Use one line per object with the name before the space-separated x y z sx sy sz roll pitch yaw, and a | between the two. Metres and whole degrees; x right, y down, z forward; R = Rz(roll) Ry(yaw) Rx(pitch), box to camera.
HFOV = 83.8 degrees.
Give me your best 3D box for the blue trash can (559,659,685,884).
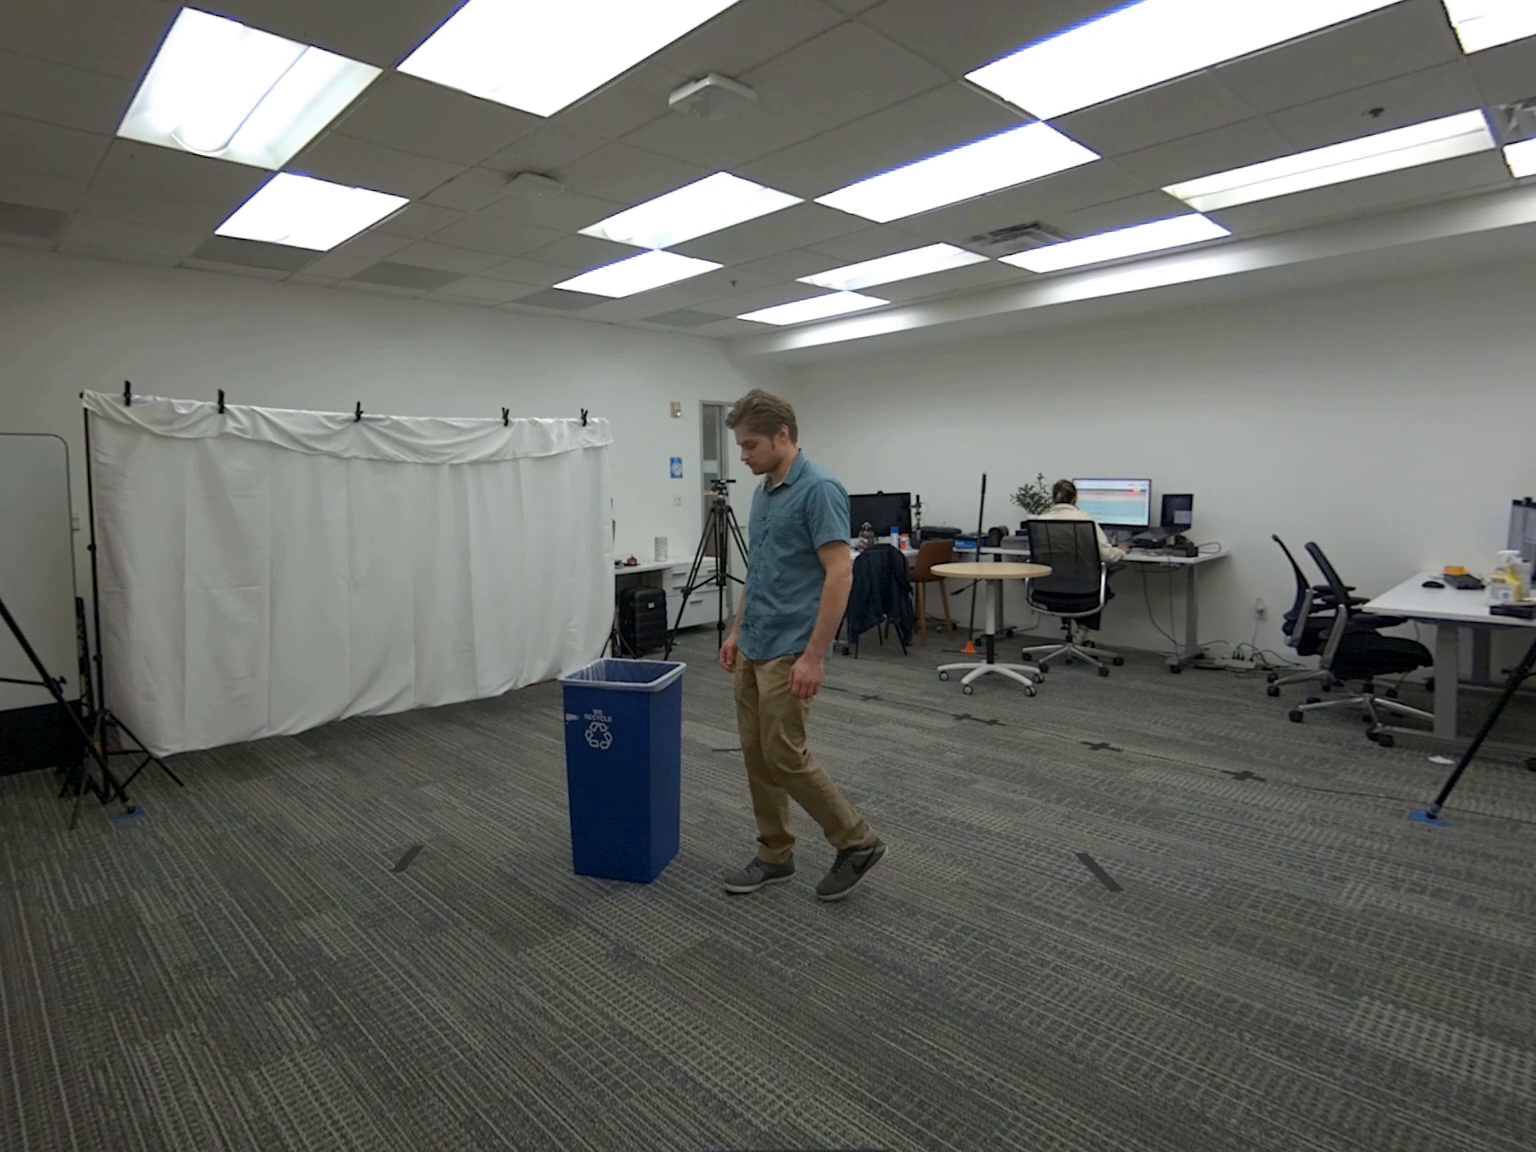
blue trash can | -0.515 0.698 3.130 0.380 0.711 0.373 0 5 16
